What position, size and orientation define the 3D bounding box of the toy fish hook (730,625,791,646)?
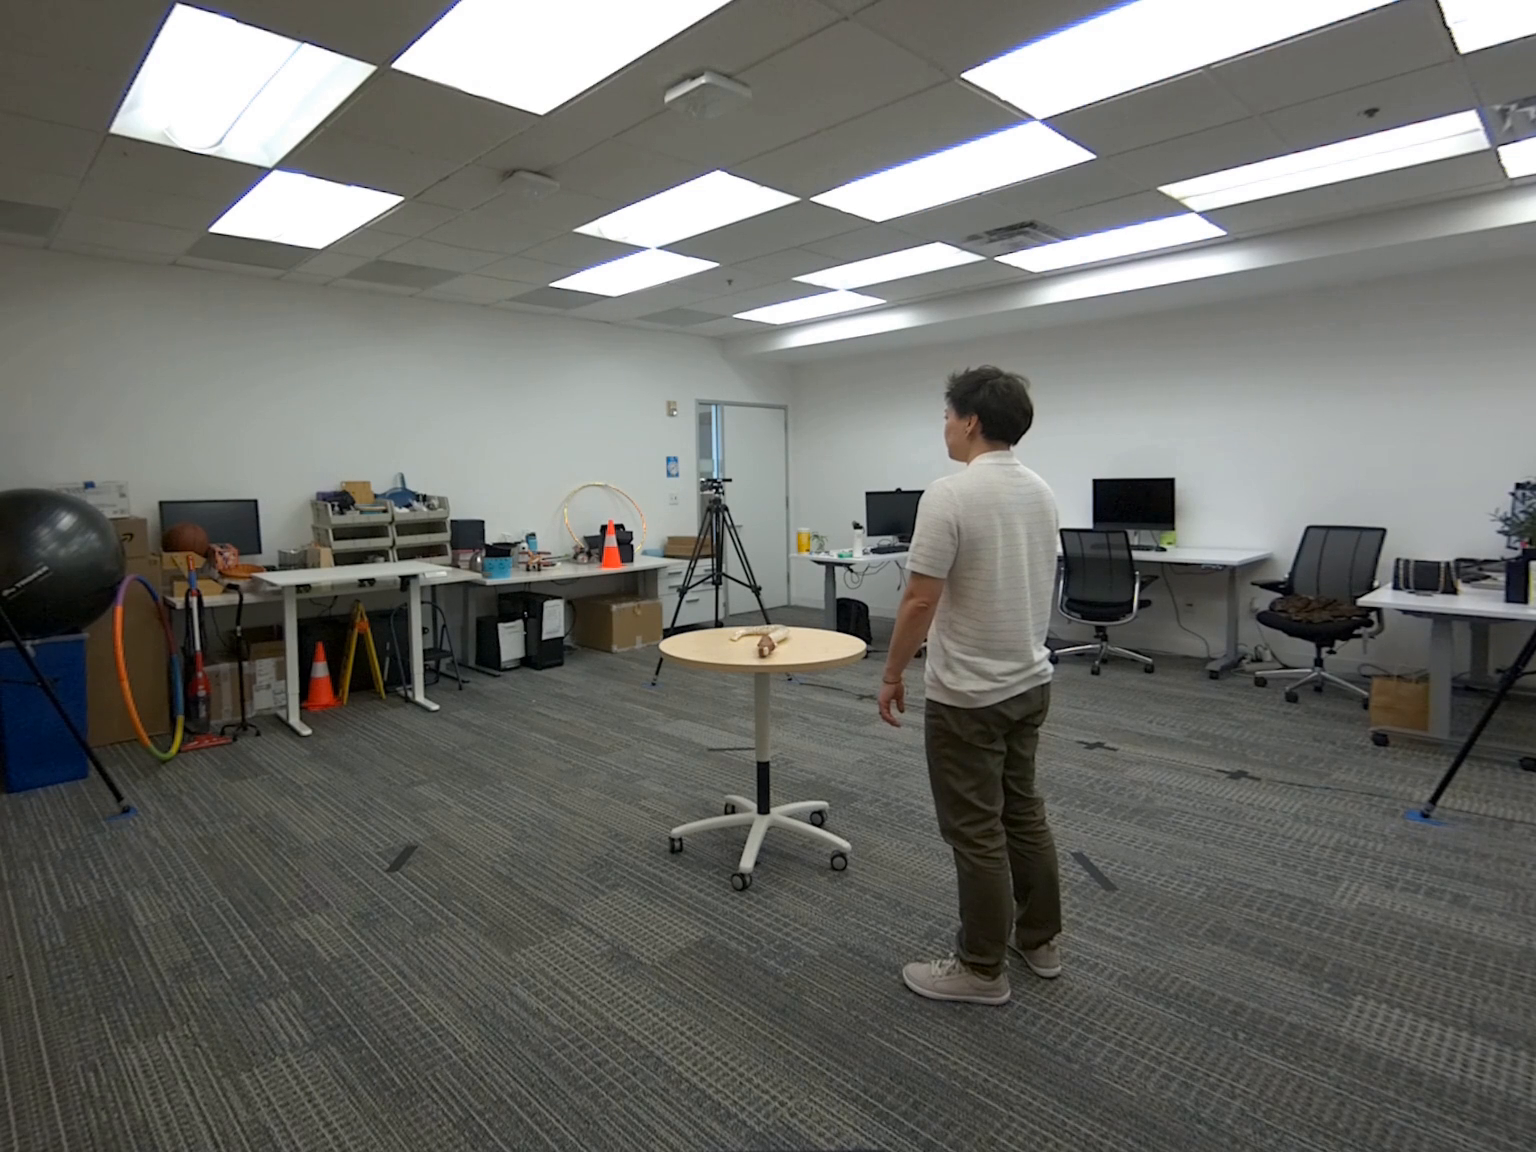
[{"bbox_3d":[-0.048,0.241,3.152,0.226,0.048,0.504,-8,4,7],"label":"toy fish hook"}]
